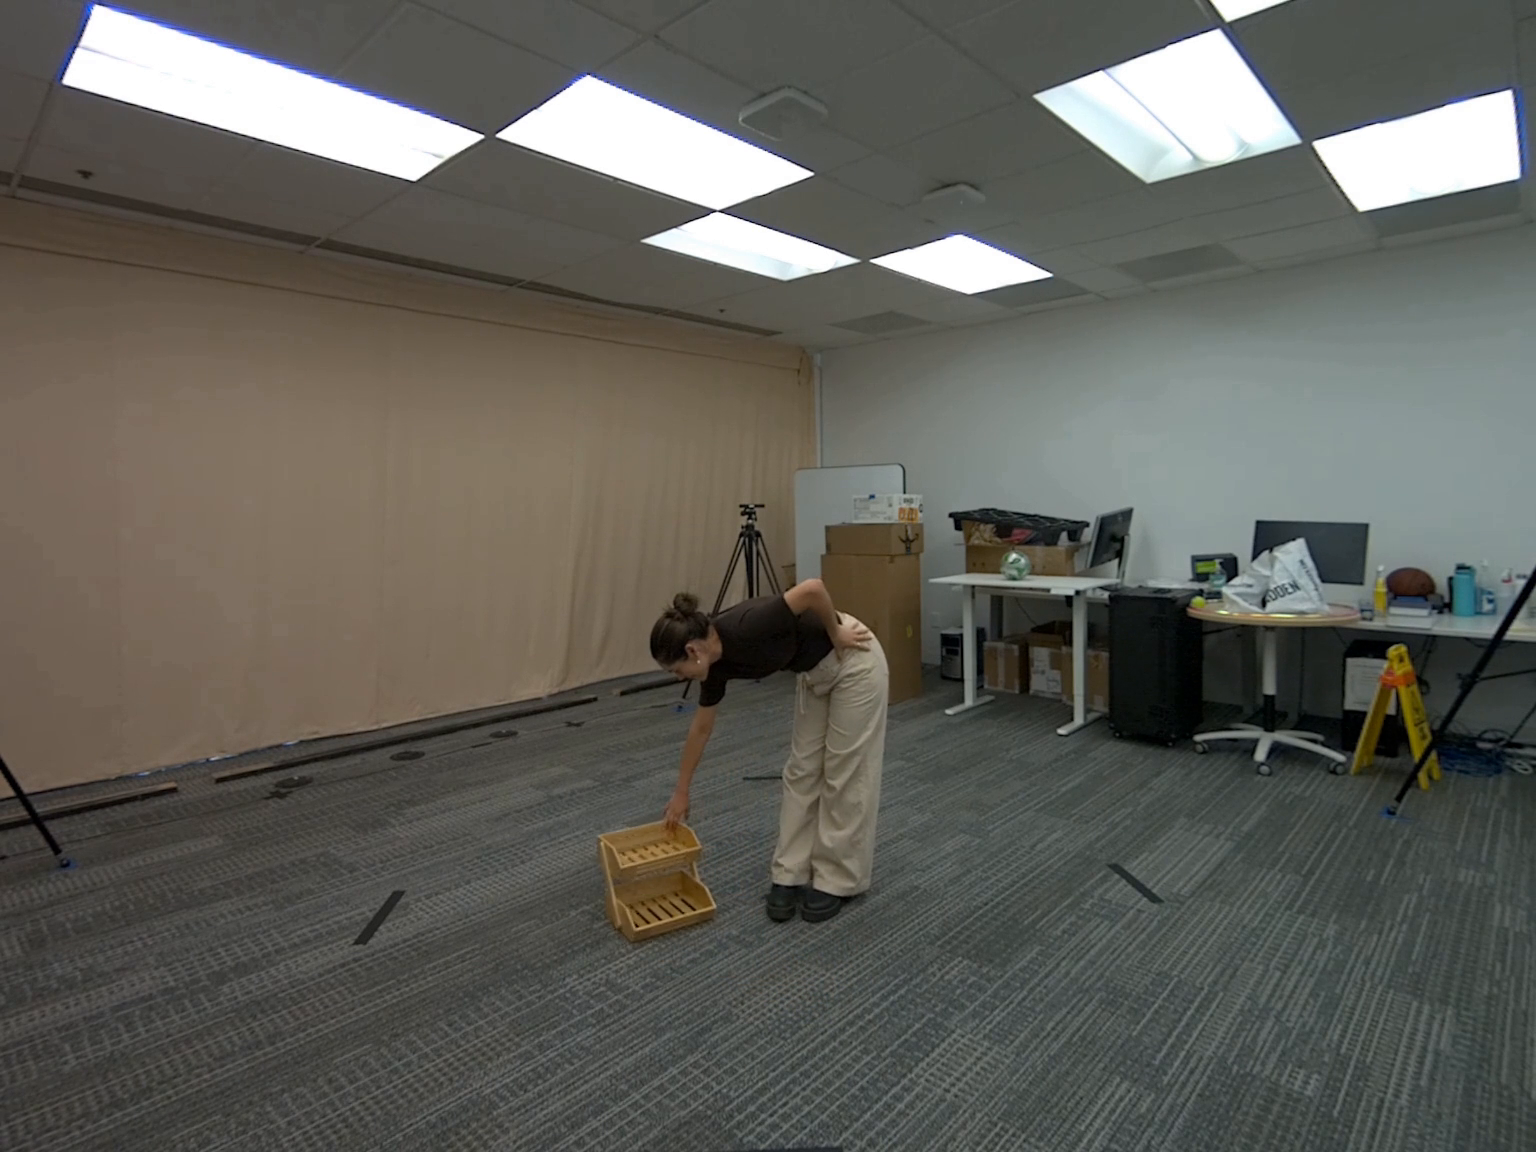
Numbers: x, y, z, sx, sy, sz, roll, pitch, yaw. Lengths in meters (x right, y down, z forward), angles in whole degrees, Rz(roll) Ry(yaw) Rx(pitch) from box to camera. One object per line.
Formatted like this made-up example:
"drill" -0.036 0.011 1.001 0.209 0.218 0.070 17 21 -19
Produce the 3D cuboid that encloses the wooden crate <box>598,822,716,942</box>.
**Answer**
"wooden crate" -0.374 1.025 2.863 0.315 0.273 0.311 -3 3 -32
